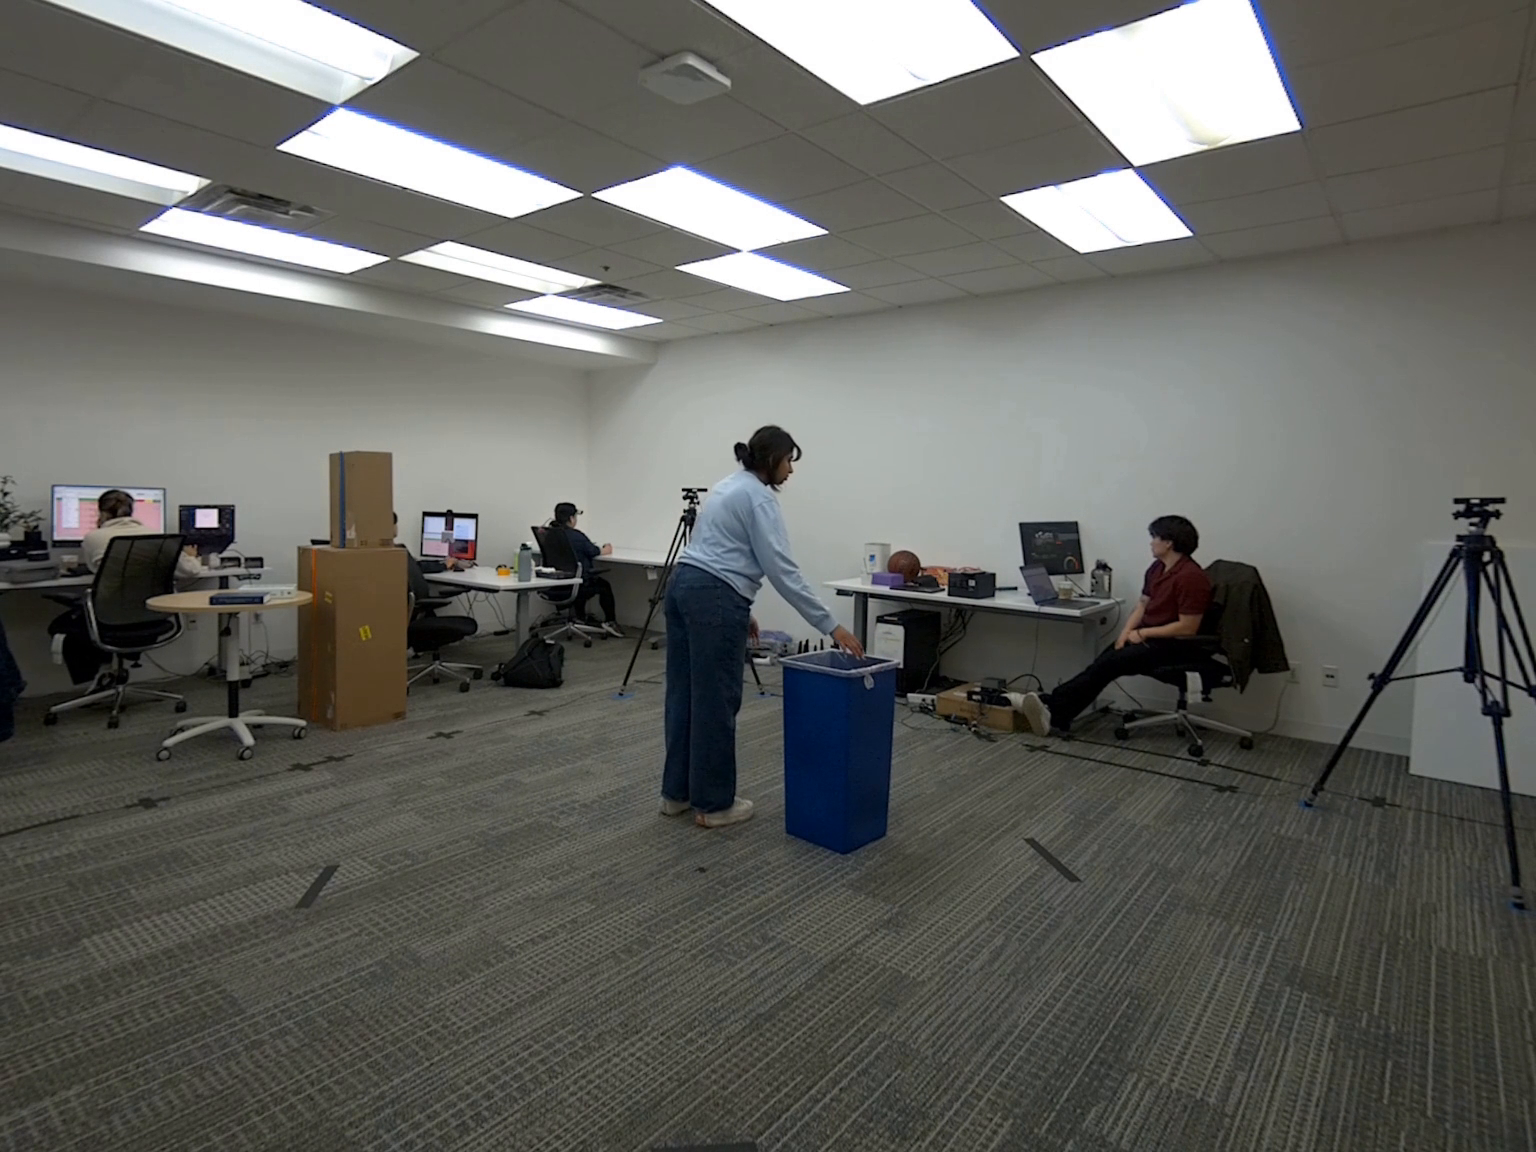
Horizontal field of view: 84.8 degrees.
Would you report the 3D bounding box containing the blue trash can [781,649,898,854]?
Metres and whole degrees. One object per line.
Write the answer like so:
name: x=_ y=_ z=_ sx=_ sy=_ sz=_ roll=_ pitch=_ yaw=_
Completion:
blue trash can: x=0.266 y=0.689 z=3.453 sx=0.387 sy=0.712 sz=0.366 roll=3 pitch=4 yaw=42
